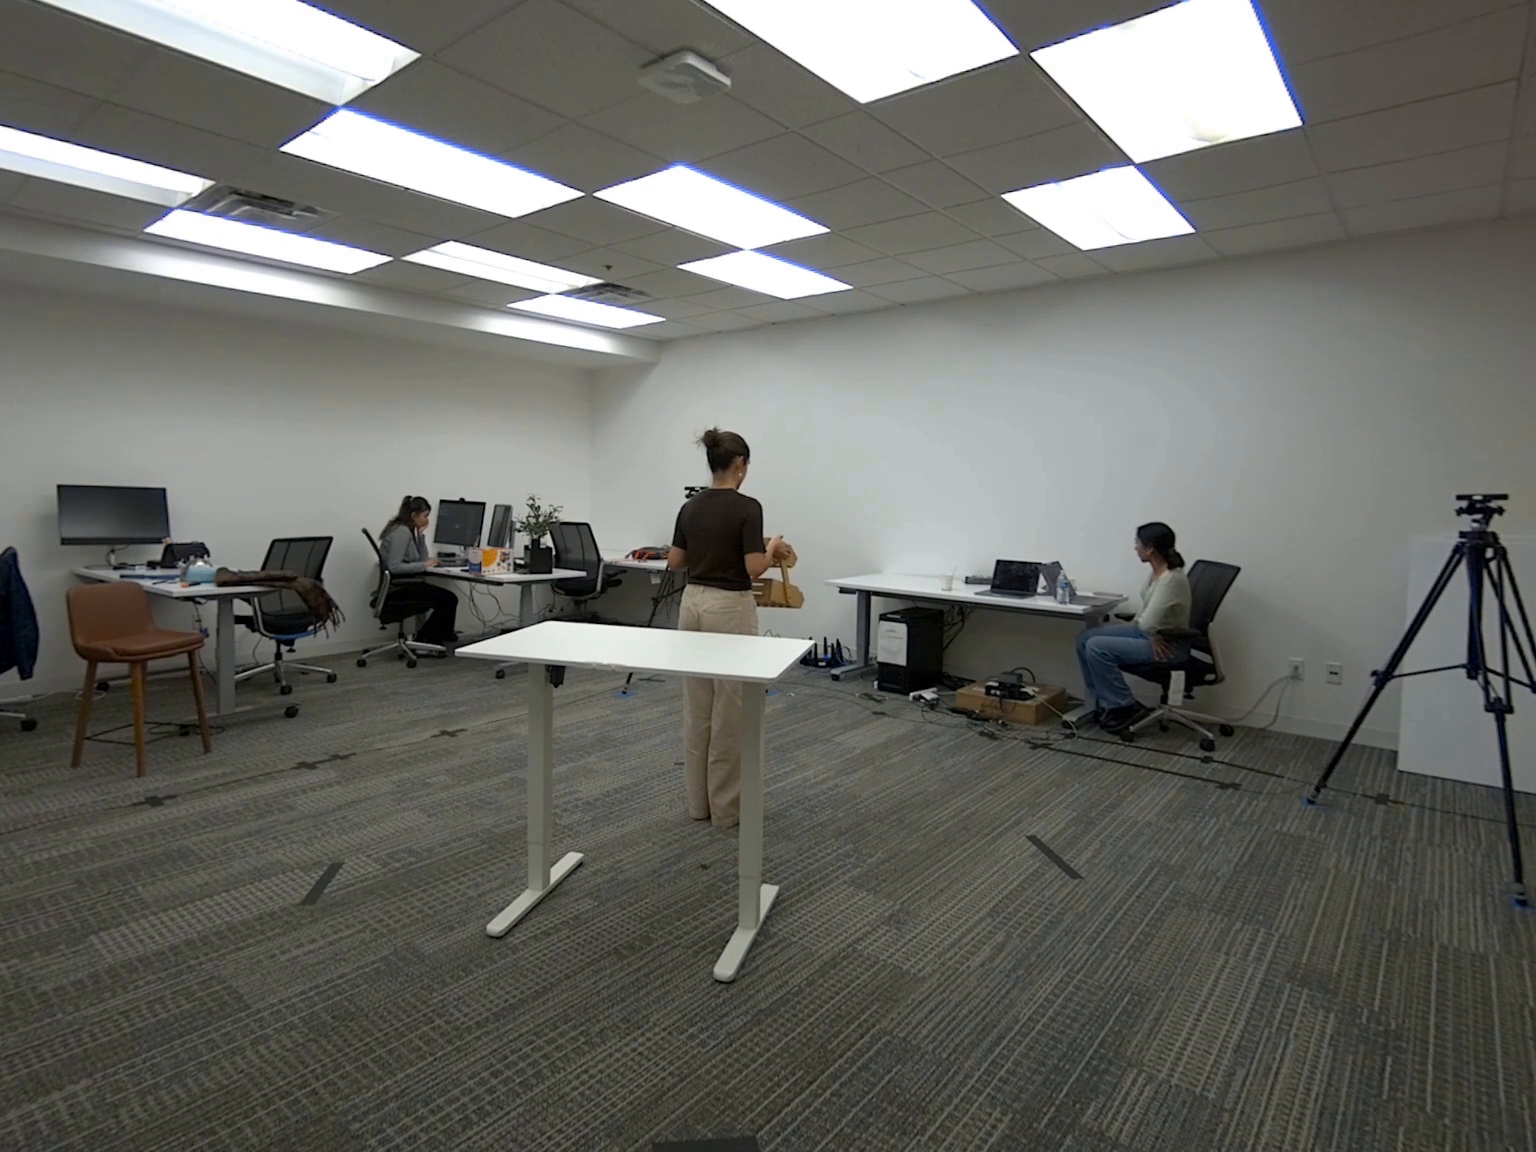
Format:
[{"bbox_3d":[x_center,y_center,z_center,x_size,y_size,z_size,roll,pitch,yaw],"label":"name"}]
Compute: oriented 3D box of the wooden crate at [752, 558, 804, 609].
[{"bbox_3d":[-0.045,-0.015,3.808,0.334,0.276,0.290,0,-12,38],"label":"wooden crate"}]
